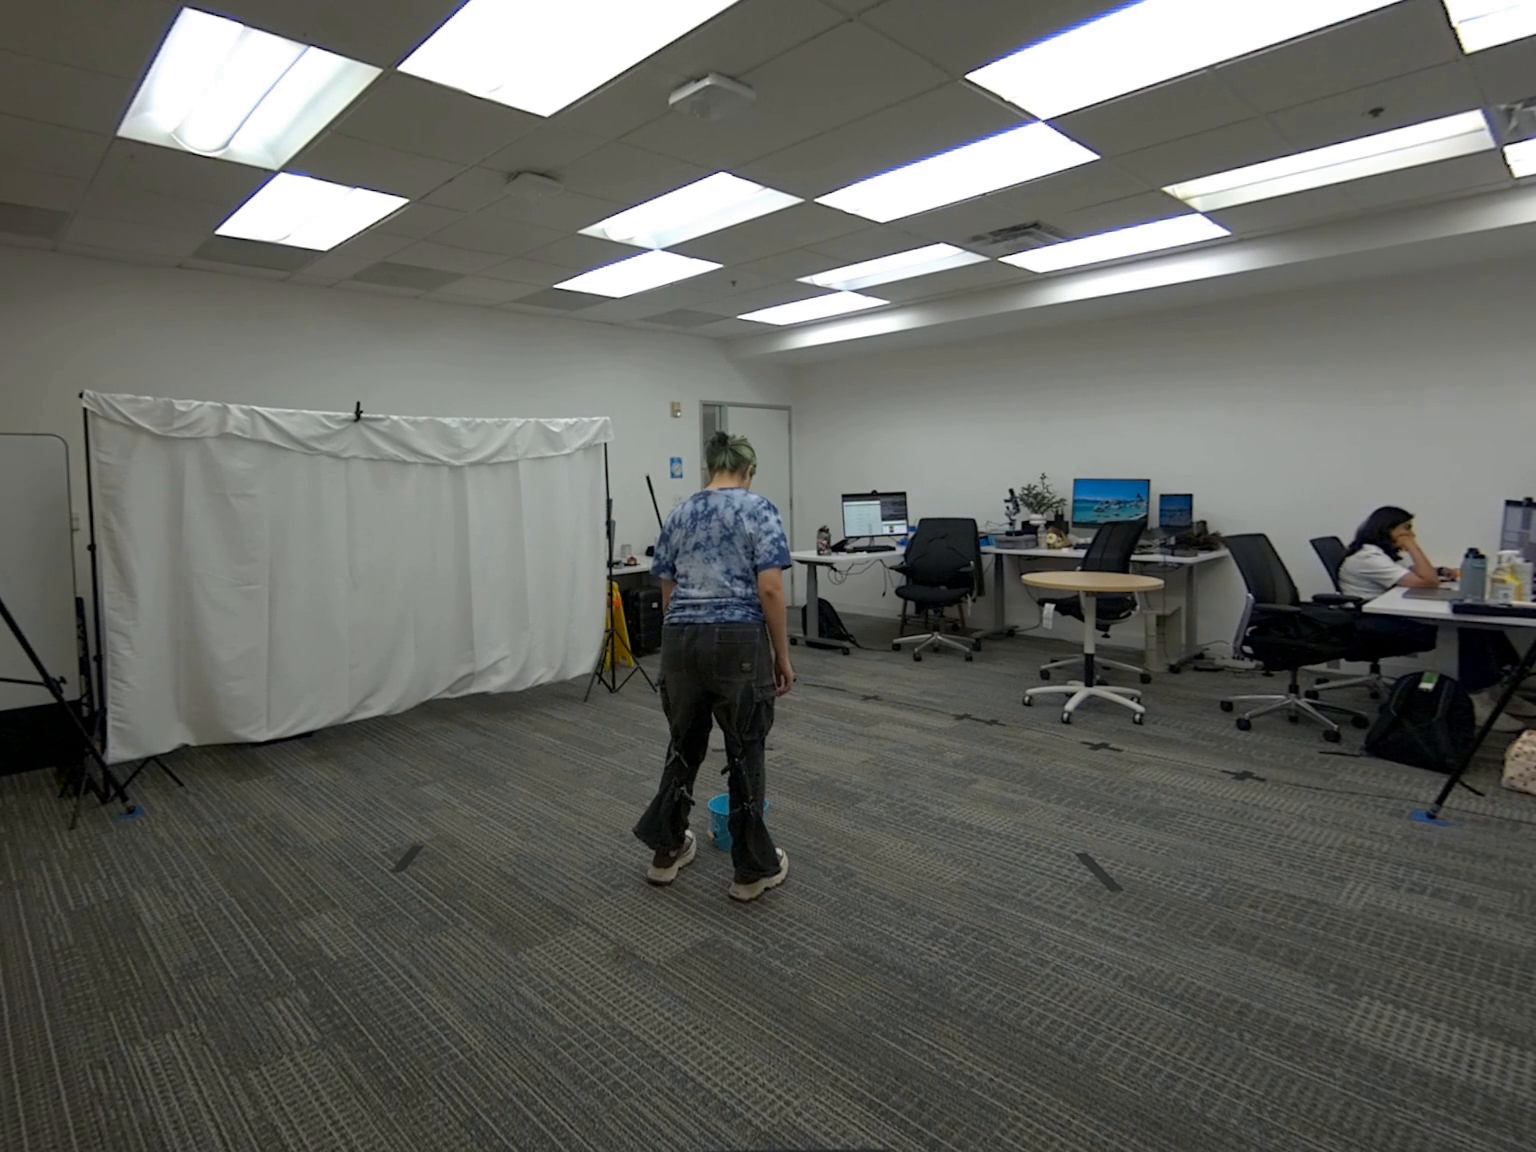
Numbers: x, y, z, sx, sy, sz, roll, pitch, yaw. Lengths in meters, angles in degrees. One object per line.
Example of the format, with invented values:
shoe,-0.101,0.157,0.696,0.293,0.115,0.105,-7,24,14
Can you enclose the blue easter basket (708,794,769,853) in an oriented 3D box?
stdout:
blue easter basket,-0.119,0.951,3.296,0.243,0.155,0.245,-2,4,-2
